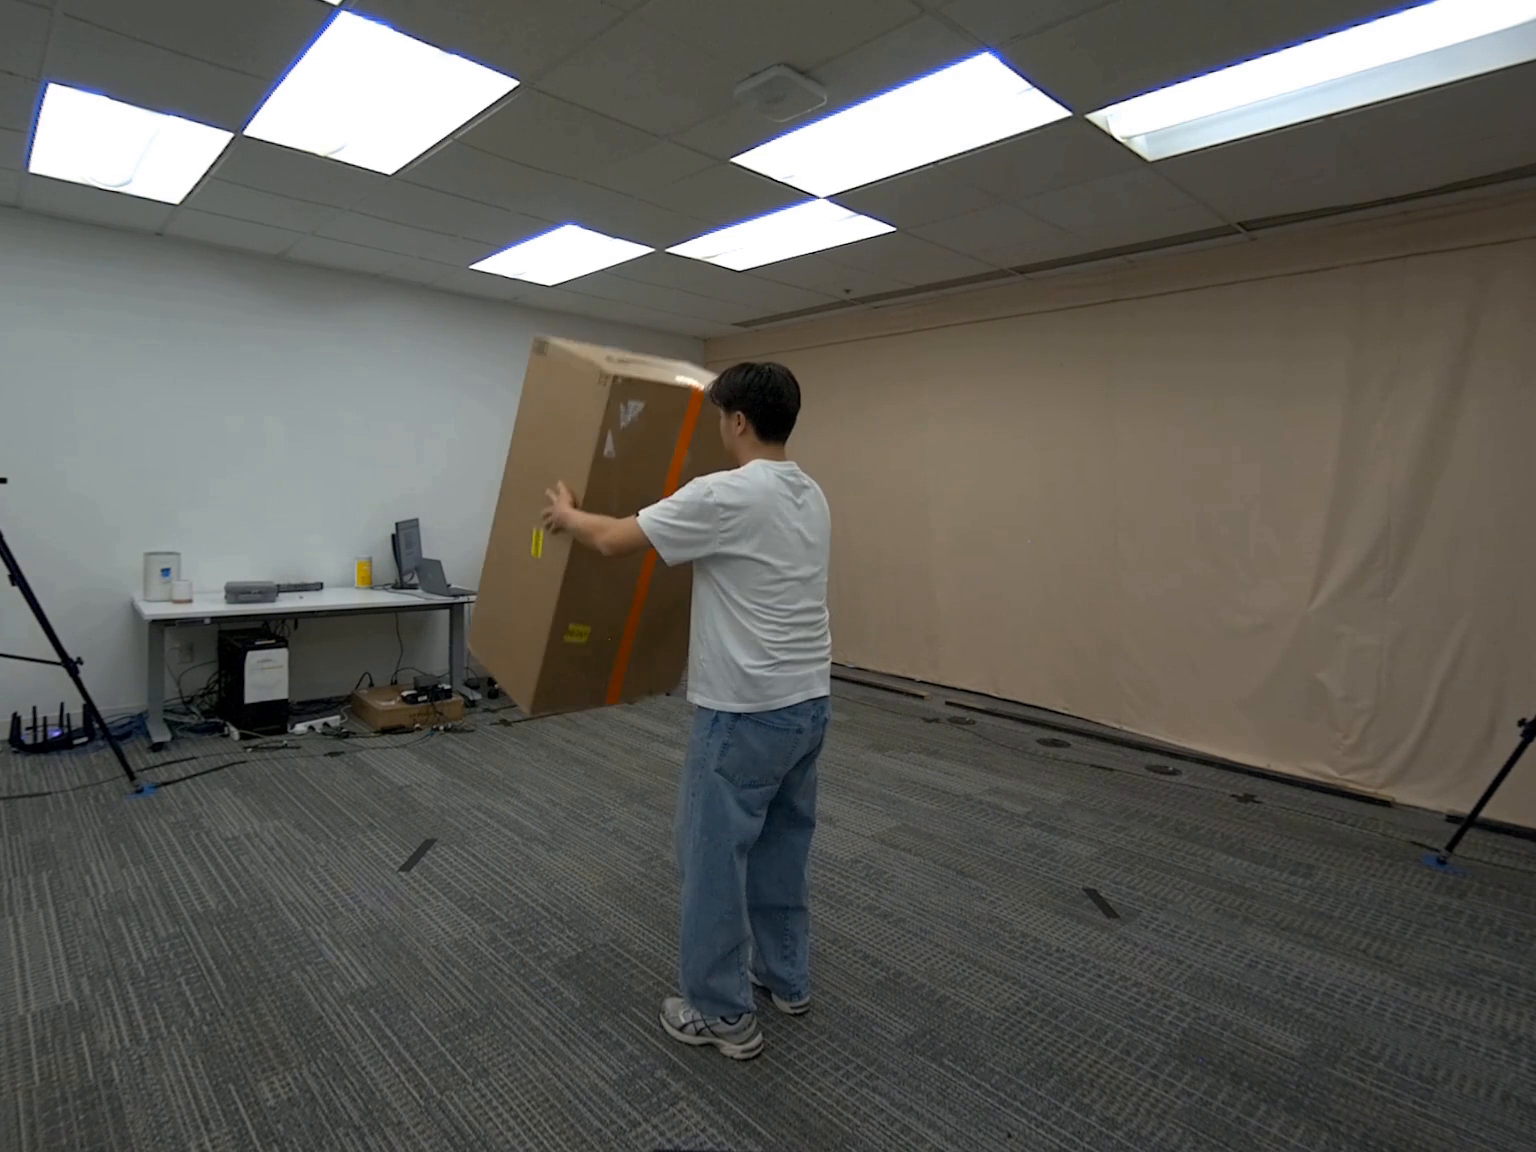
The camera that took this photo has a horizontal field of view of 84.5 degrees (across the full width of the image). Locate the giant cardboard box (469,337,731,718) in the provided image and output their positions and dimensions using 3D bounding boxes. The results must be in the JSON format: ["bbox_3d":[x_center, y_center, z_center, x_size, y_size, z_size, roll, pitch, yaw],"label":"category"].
[{"bbox_3d":[-0.472,-0.137,2.598,0.564,1.018,0.440,-1,25,-46],"label":"giant cardboard box"}]
